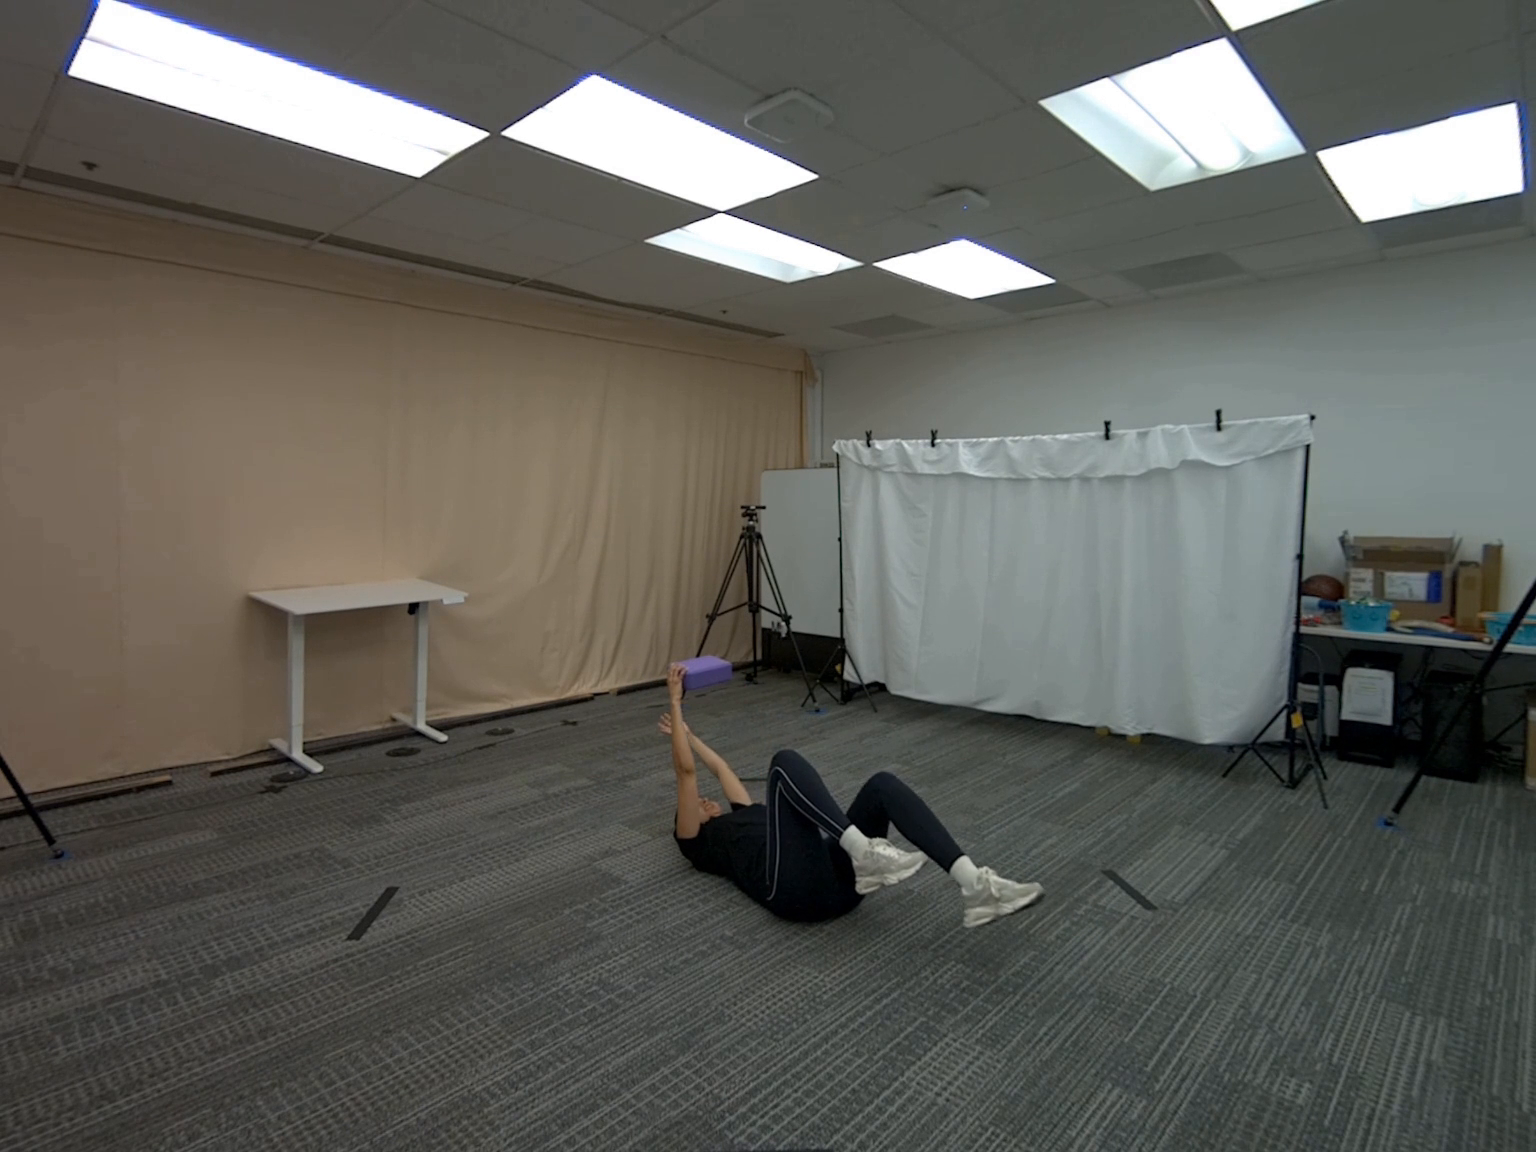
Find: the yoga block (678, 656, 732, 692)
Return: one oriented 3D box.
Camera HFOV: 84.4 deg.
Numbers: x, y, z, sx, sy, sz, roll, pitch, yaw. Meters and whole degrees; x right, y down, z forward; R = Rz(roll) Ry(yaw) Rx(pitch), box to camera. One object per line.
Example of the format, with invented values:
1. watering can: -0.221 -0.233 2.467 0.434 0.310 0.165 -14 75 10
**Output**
1. yoga block: -0.273 0.388 3.422 0.223 0.076 0.154 -9 15 -40
